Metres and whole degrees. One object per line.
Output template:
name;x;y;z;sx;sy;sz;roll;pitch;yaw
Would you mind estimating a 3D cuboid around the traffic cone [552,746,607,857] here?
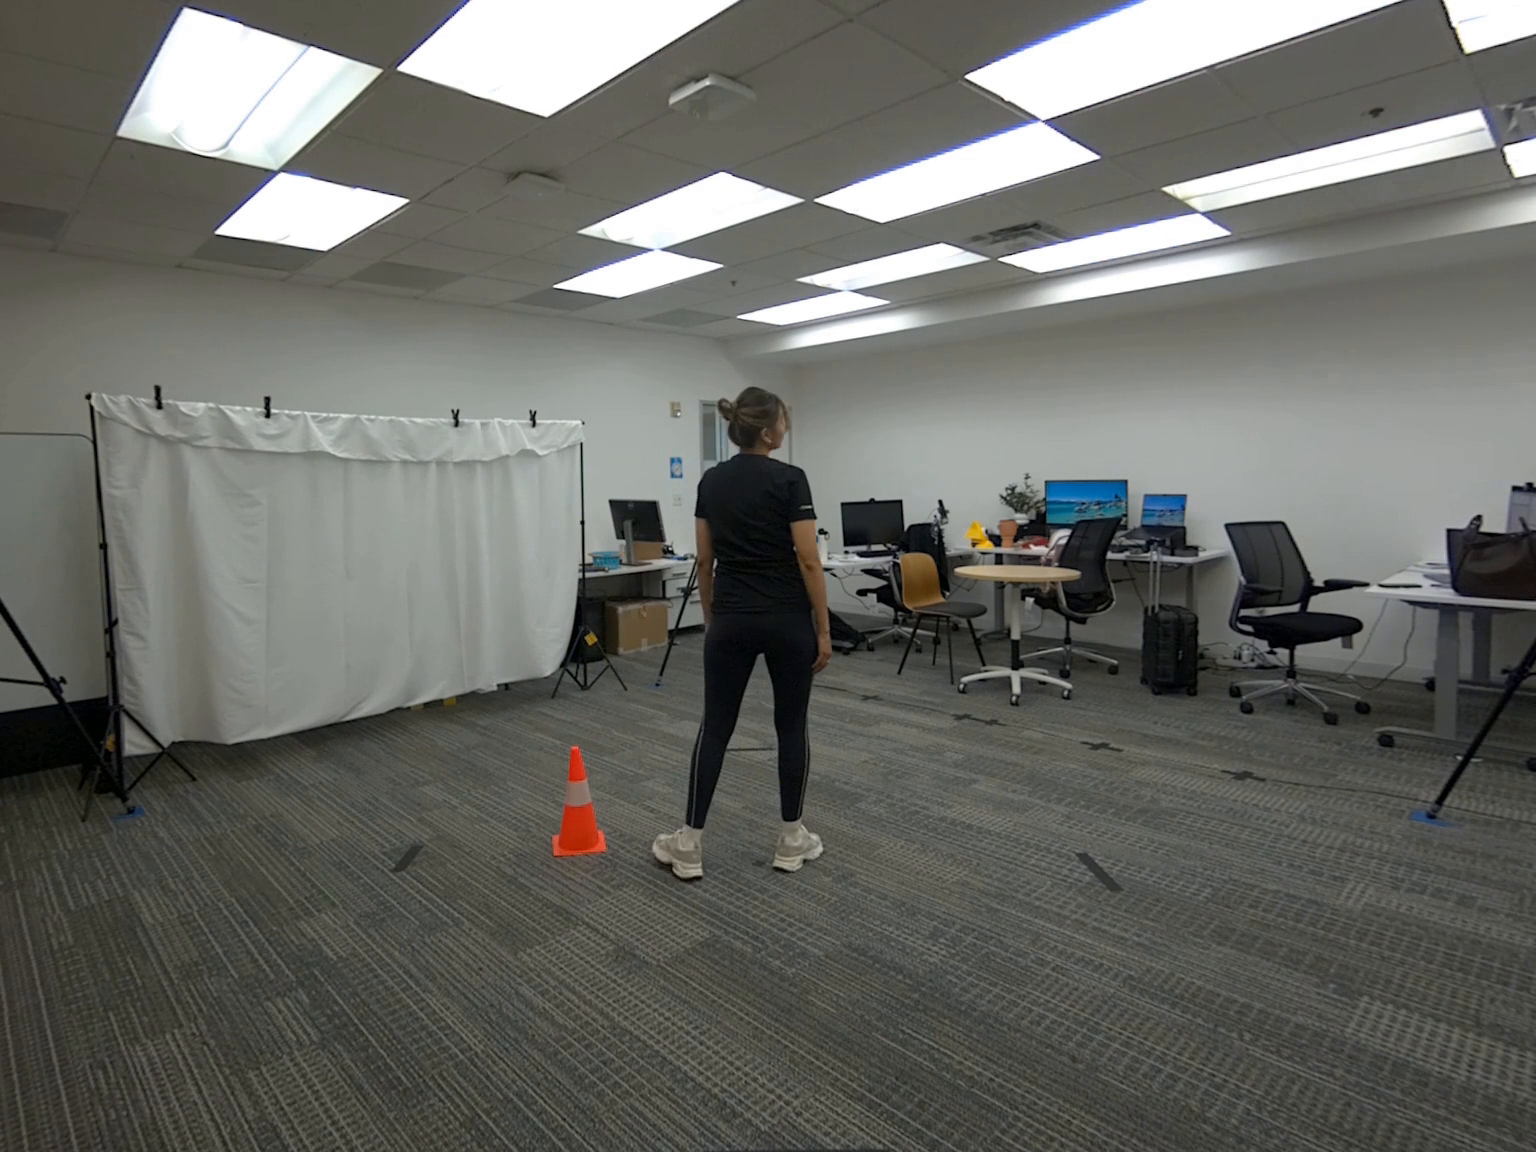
traffic cone;-0.743;0.855;3.306;0.203;0.382;0.206;-4;4;-10
